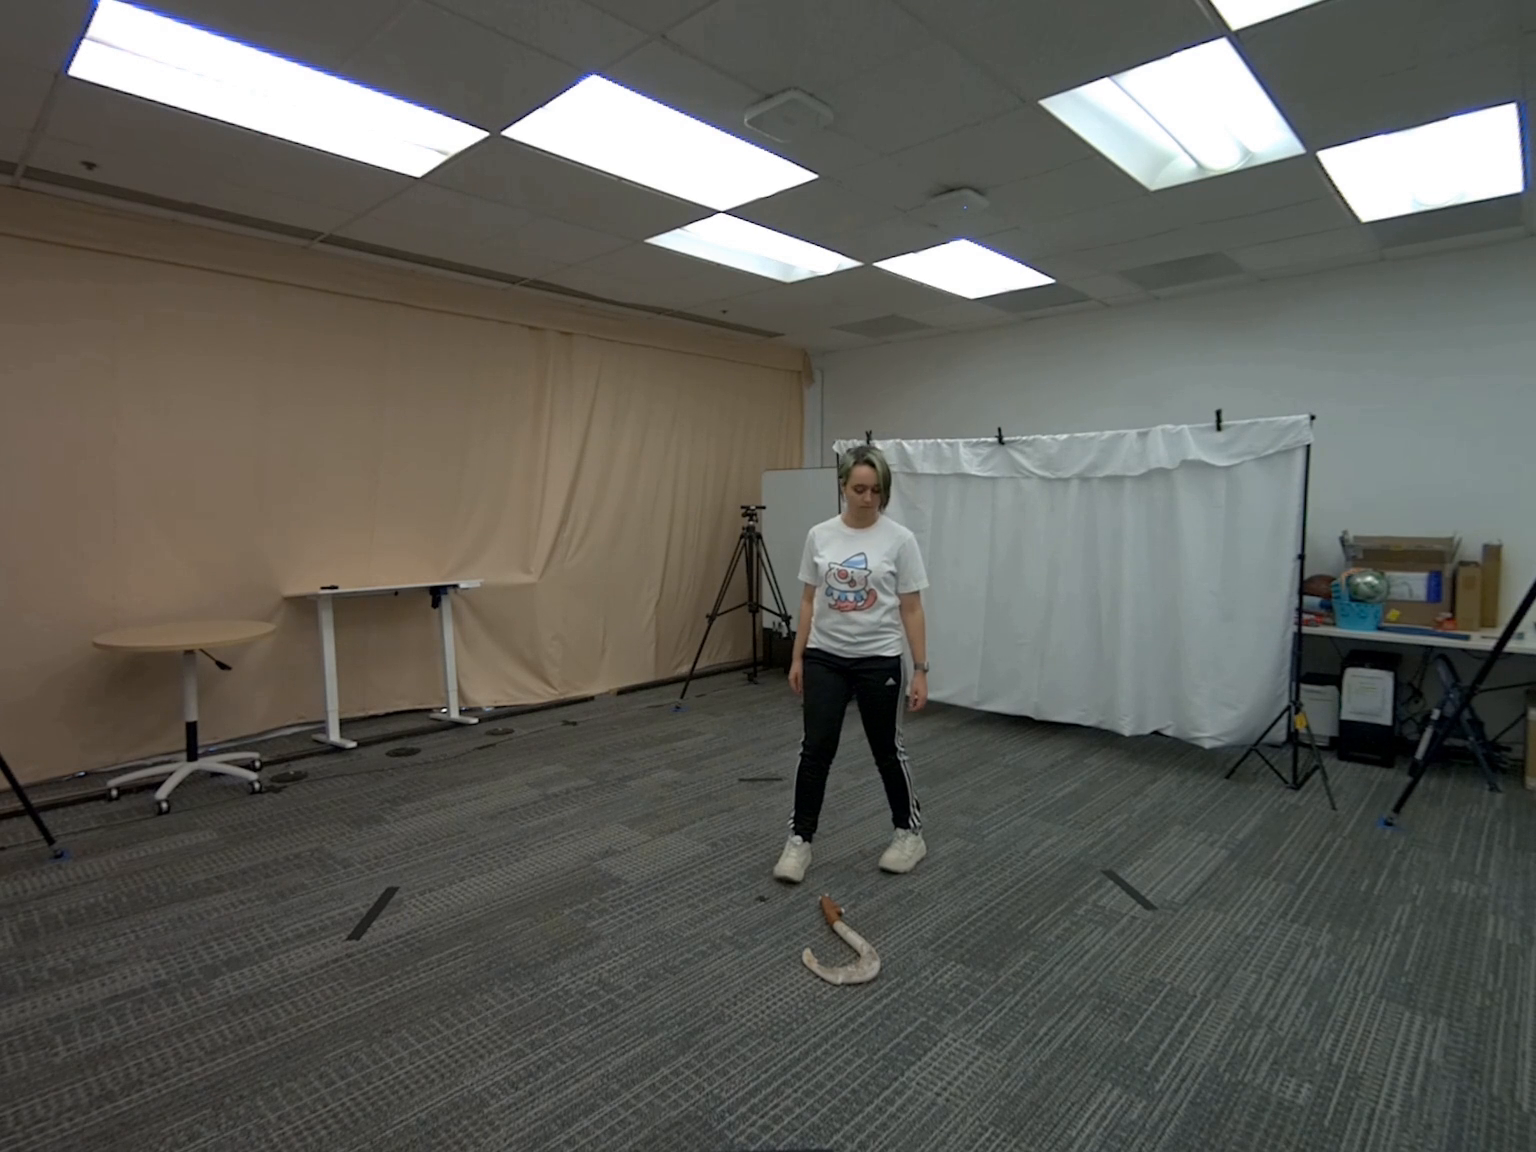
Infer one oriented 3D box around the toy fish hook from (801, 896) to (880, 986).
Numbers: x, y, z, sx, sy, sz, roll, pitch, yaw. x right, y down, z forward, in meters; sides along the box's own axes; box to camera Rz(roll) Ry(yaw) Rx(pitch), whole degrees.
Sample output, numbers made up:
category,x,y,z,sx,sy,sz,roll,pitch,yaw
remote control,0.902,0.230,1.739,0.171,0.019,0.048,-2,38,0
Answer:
category,x,y,z,sx,sy,sz,roll,pitch,yaw
toy fish hook,0.193,1.140,2.683,0.222,0.048,0.513,0,4,-11
